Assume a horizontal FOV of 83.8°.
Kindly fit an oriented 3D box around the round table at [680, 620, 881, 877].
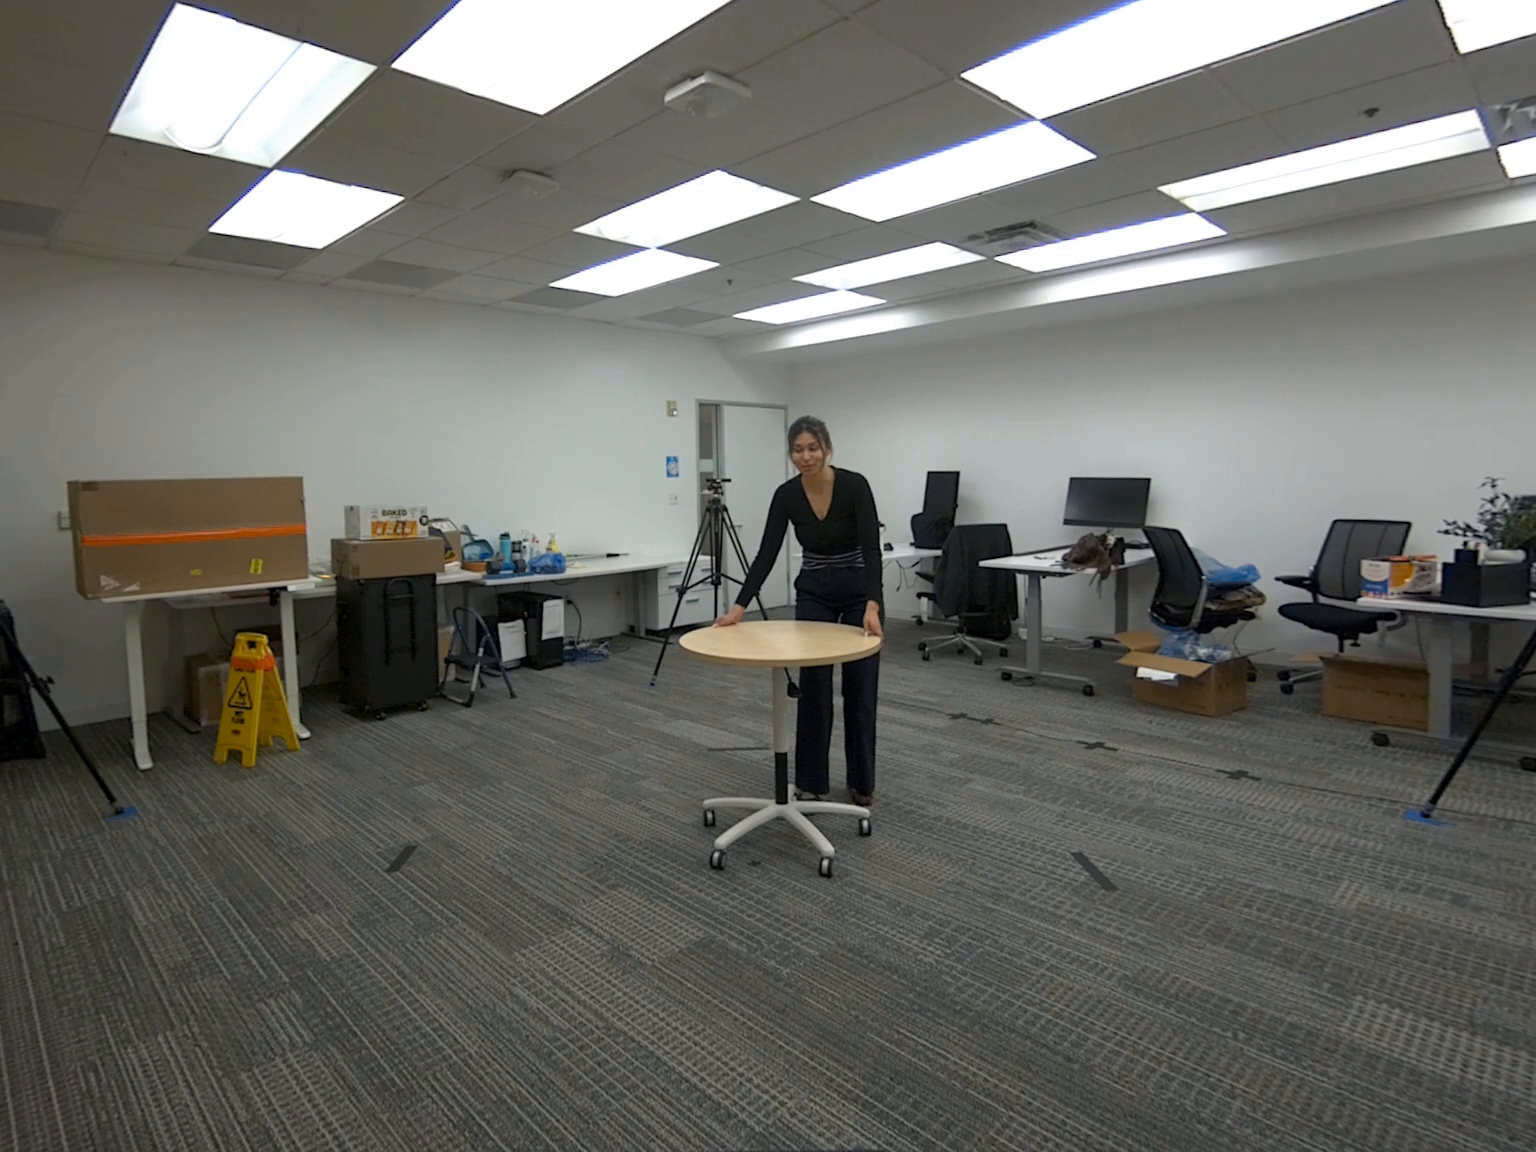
[{"bbox_3d":[0.048,0.632,3.292,0.763,0.791,0.768,-1,5,-2],"label":"round table"}]
